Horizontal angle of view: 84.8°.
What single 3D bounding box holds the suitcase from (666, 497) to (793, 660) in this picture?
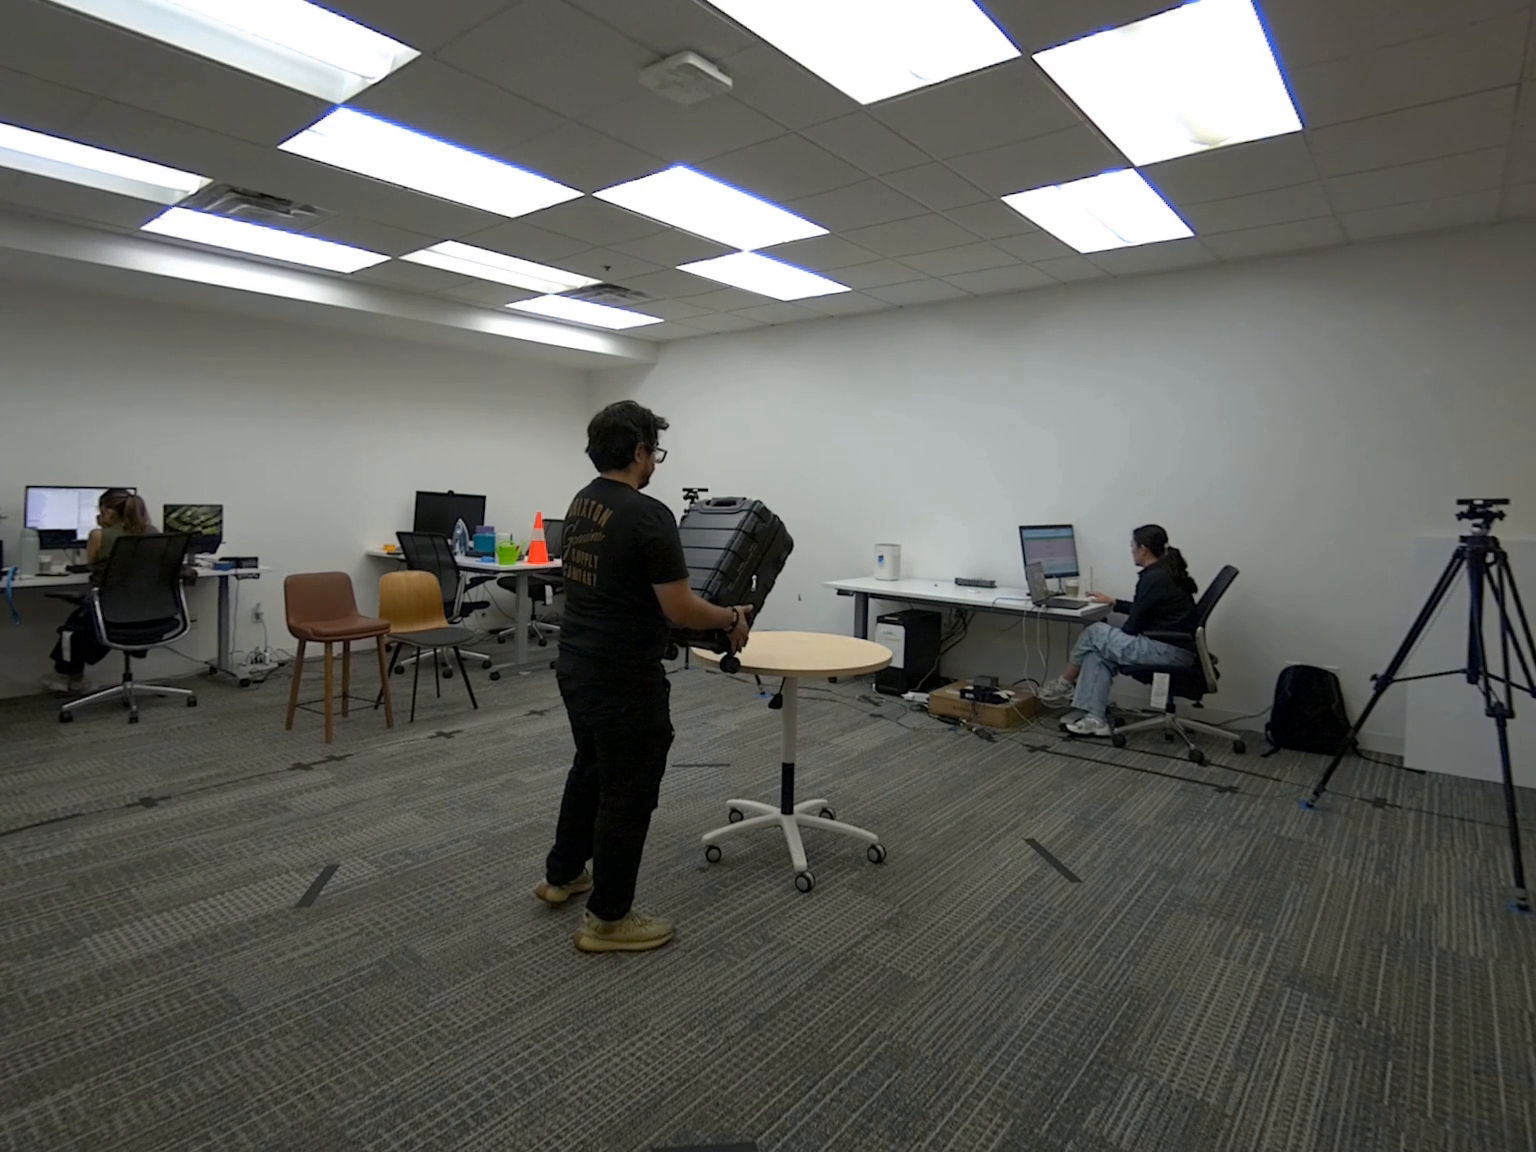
[{"bbox_3d":[-0.186,-0.005,2.852,0.388,0.553,0.239,2,-36,46],"label":"suitcase"}]
